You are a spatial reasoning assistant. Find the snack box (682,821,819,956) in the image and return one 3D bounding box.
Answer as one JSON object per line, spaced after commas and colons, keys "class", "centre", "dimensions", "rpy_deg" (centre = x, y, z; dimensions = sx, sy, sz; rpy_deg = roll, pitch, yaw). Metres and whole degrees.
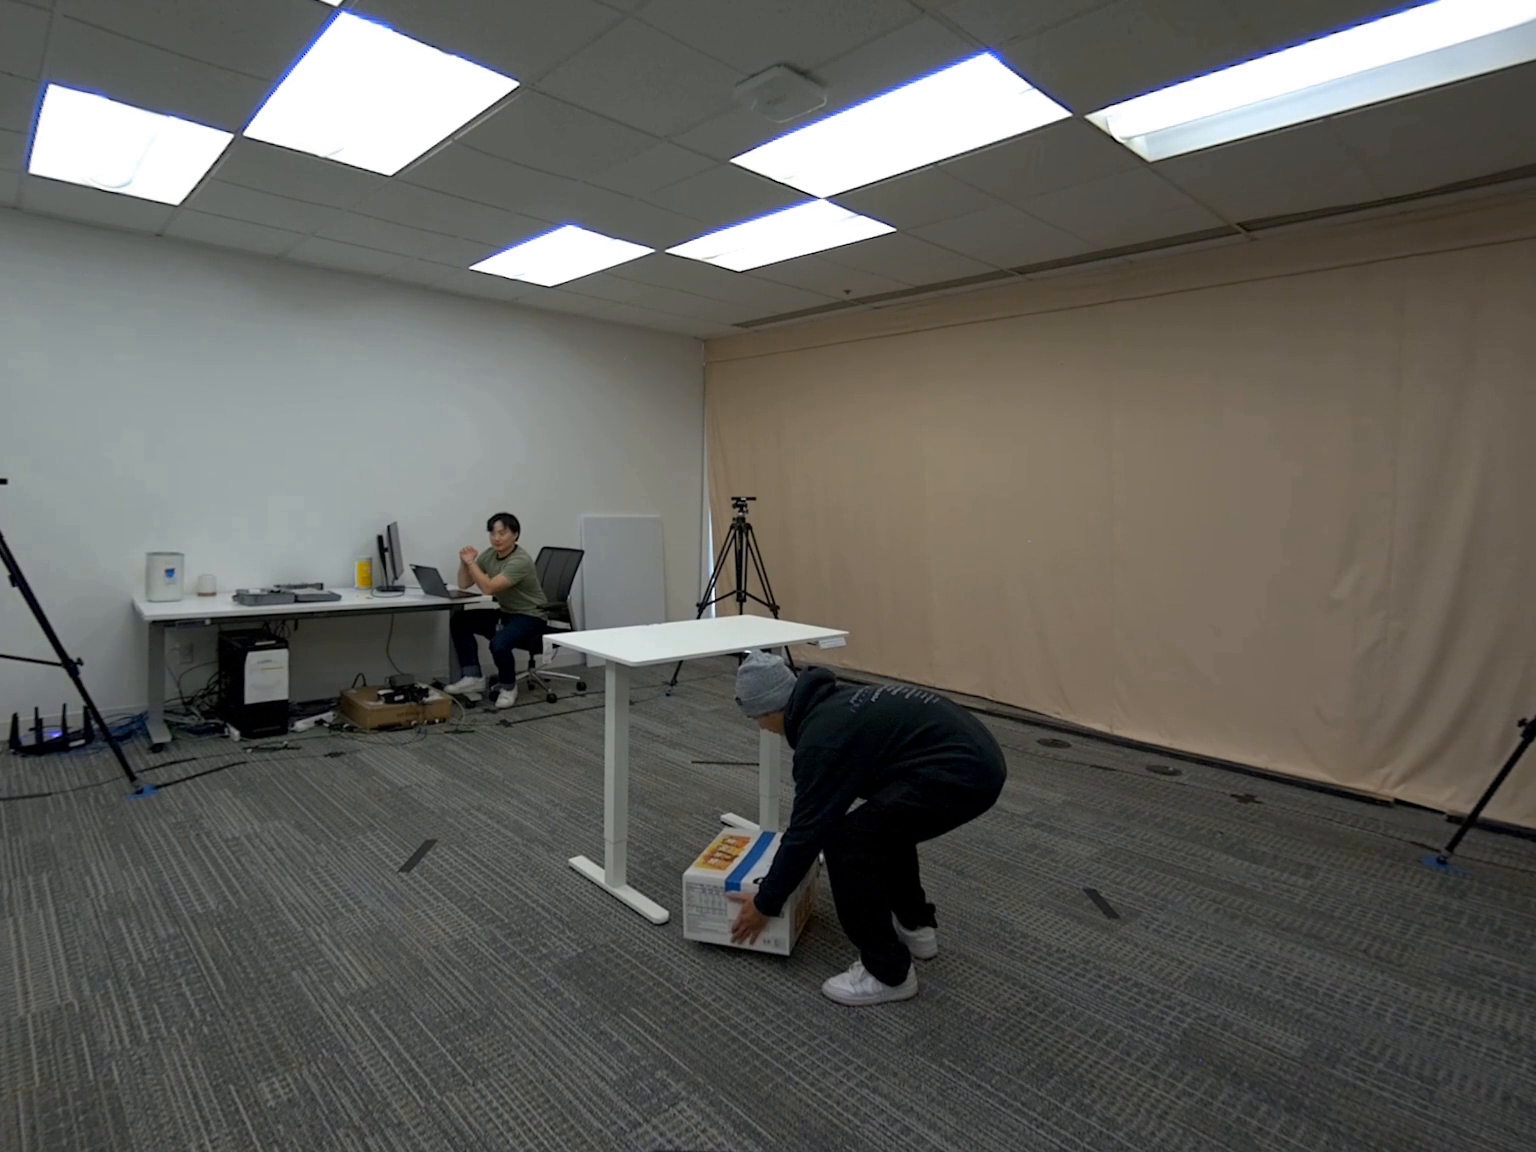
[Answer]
{"class": "snack box", "centre": [-0.047, 1.003, 2.707], "dimensions": [0.345, 0.205, 0.400], "rpy_deg": [0, 4, 18]}
